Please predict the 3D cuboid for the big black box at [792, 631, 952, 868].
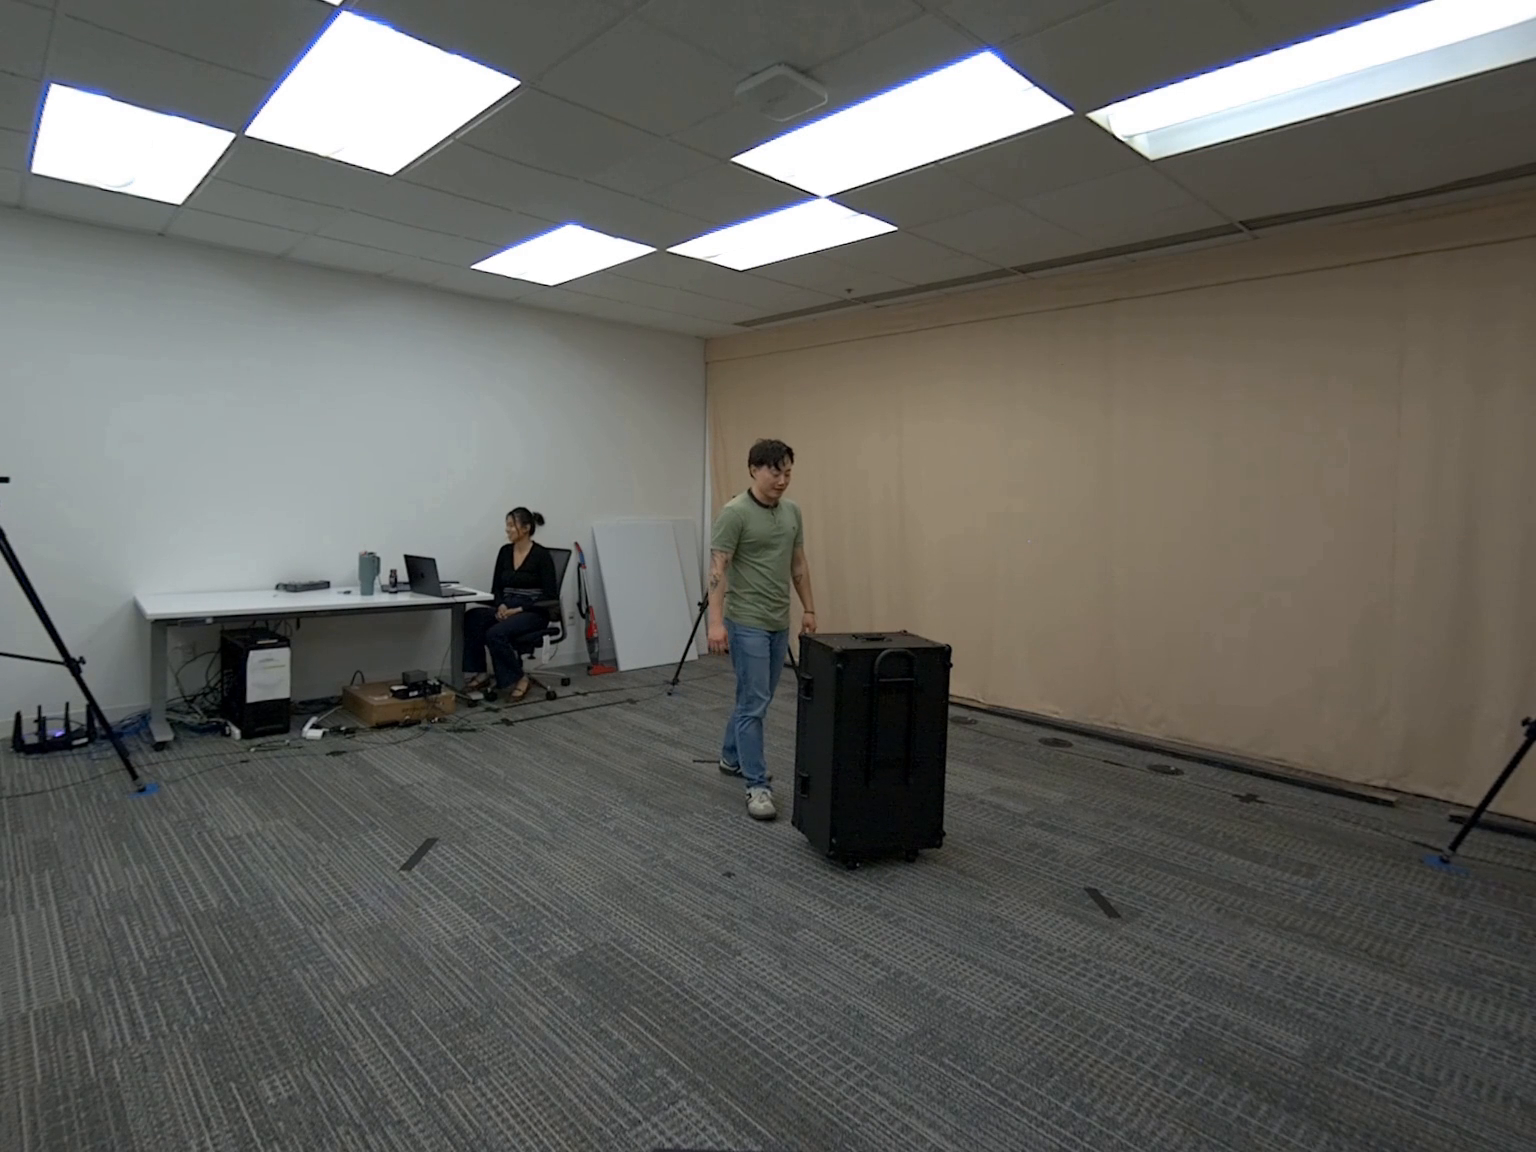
[{"bbox_3d":[0.403,0.670,3.299,0.513,0.859,0.403,2,4,-20],"label":"big black box"}]
